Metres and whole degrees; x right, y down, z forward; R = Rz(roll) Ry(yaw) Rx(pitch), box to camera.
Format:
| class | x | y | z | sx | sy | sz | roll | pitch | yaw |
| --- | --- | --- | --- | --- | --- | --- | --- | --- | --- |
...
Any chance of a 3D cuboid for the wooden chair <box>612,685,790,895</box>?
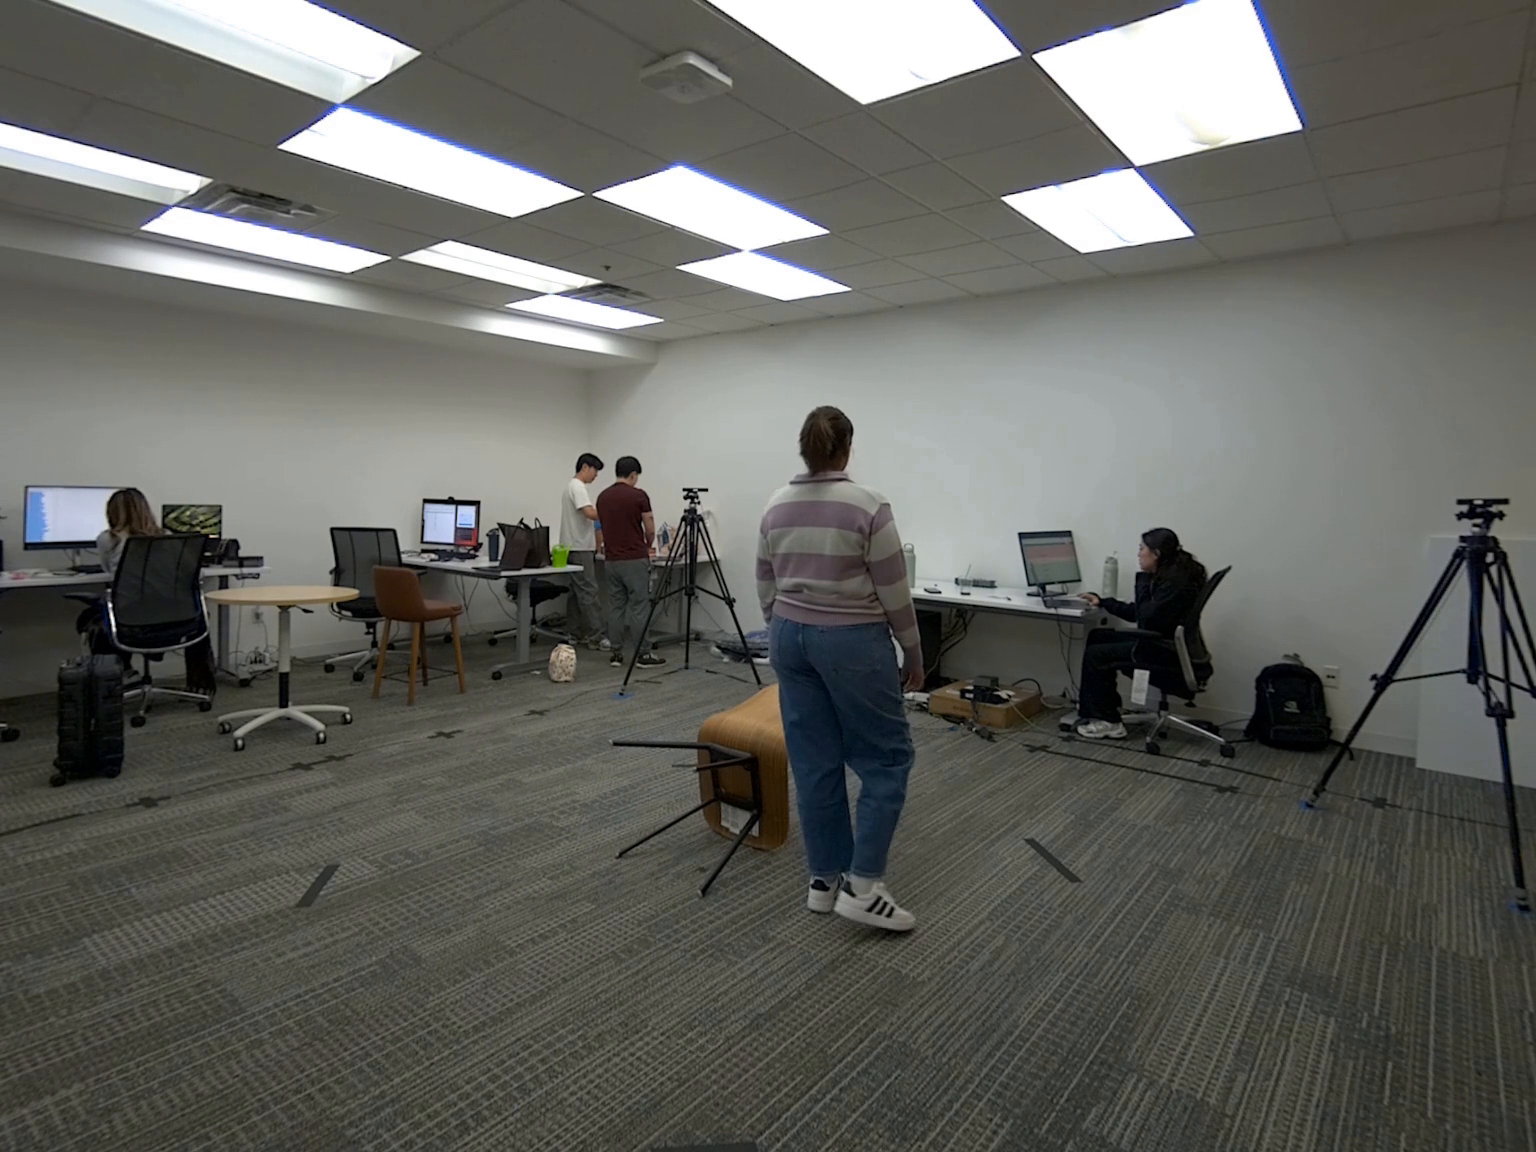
| class | x | y | z | sx | sy | sz | roll | pitch | yaw |
| --- | --- | --- | --- | --- | --- | --- | --- | --- | --- |
| wooden chair | -0.145 | 0.796 | 3.328 | 0.494 | 0.518 | 0.857 | 3 | 14 | 41 |
